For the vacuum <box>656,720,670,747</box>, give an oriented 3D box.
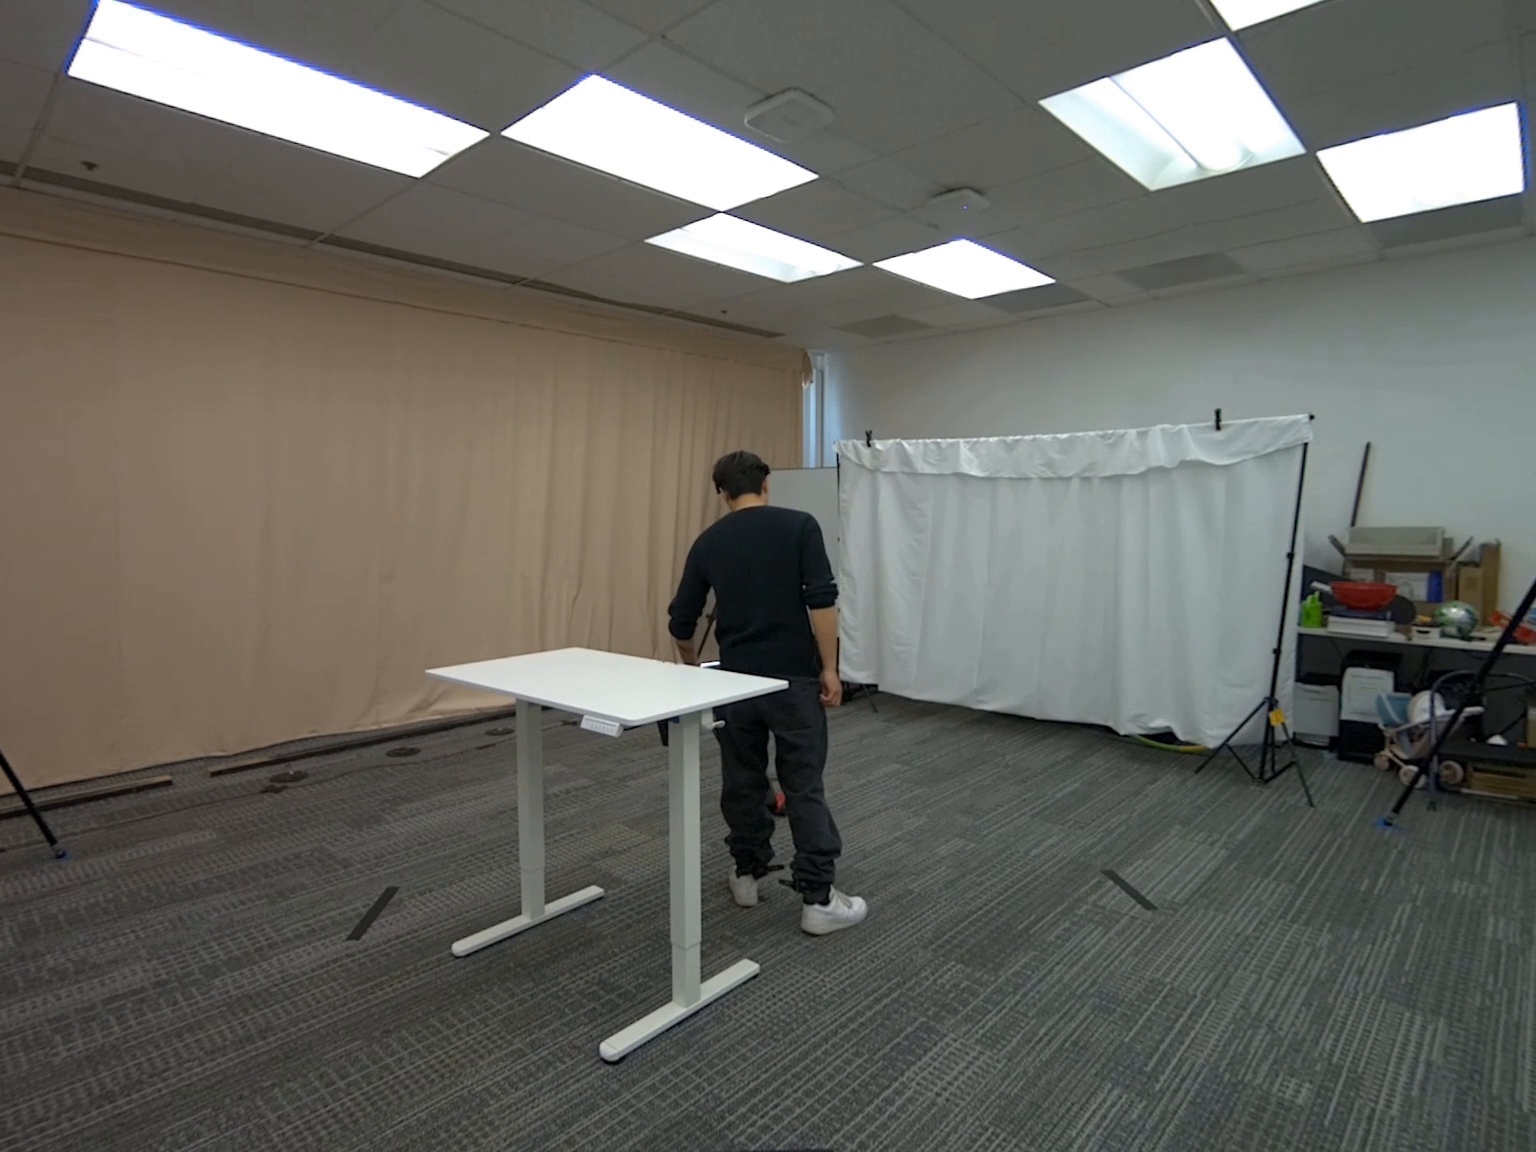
[{"bbox_3d":[-0.110,0.733,3.496,0.258,0.145,1.017,0,-38,22],"label":"vacuum"}]
